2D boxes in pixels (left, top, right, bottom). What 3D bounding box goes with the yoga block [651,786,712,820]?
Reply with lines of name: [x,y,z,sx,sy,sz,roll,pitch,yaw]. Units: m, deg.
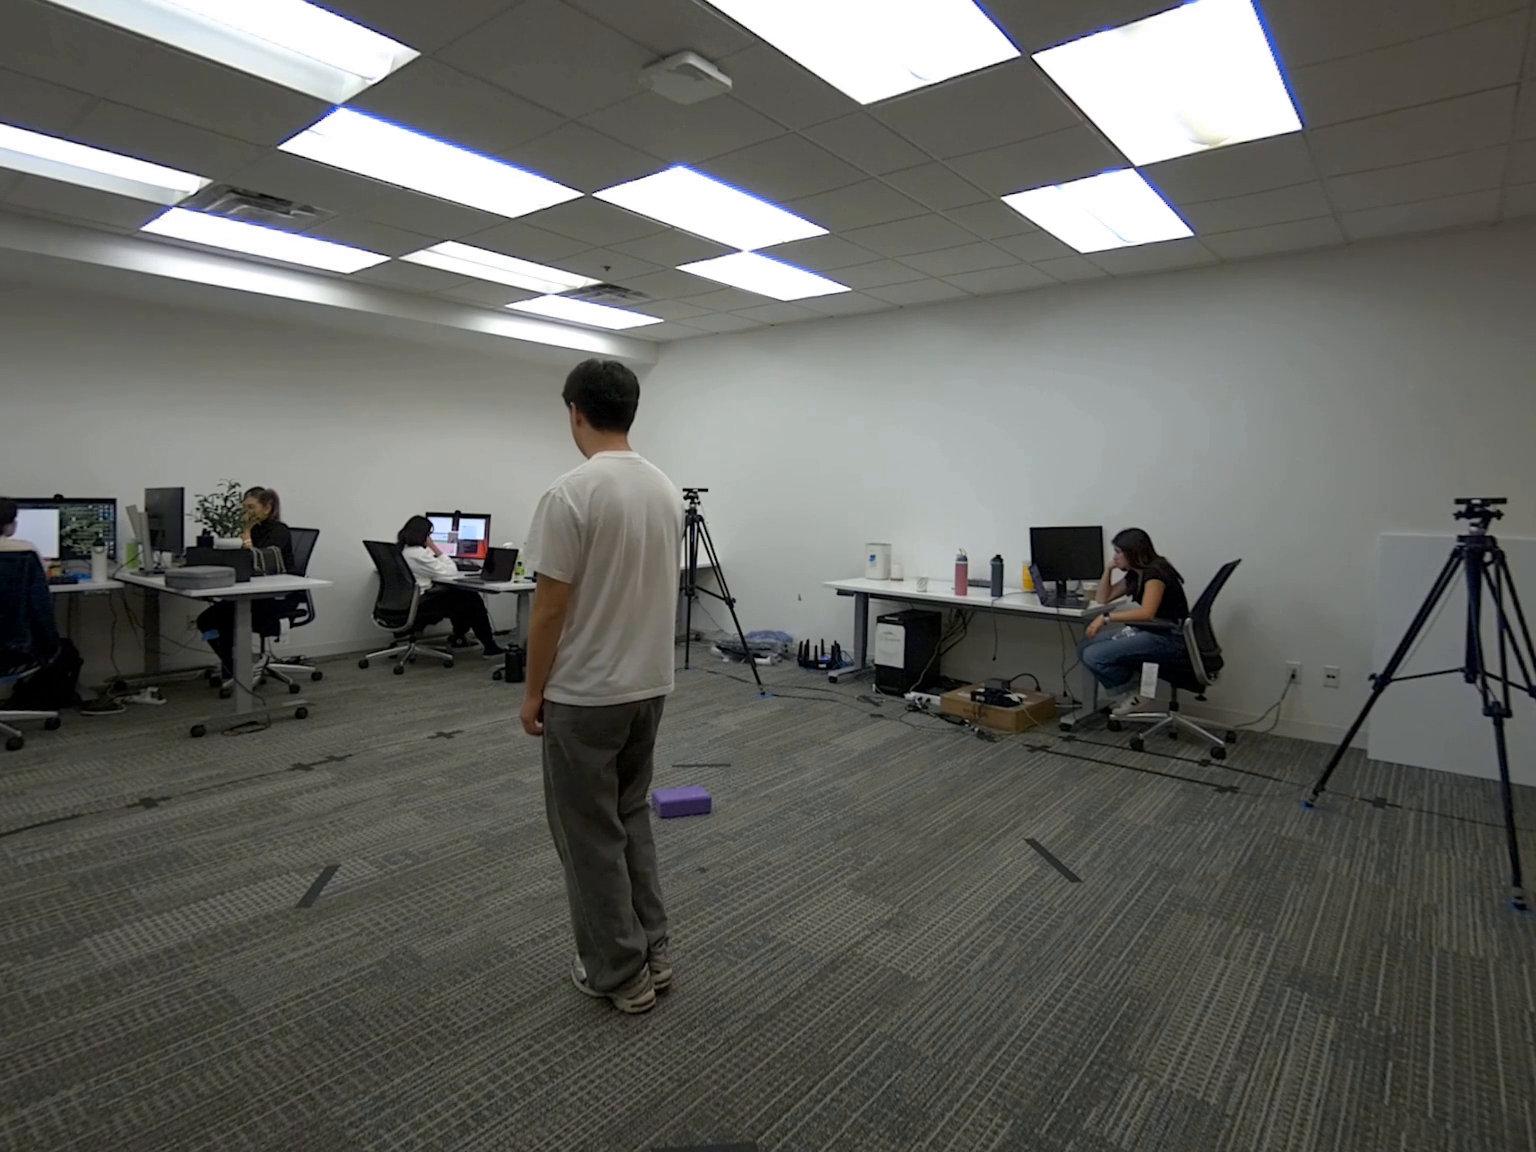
yoga block: [-0.372,0.966,3.684,0.225,0.076,0.153,-2,6,-20]
